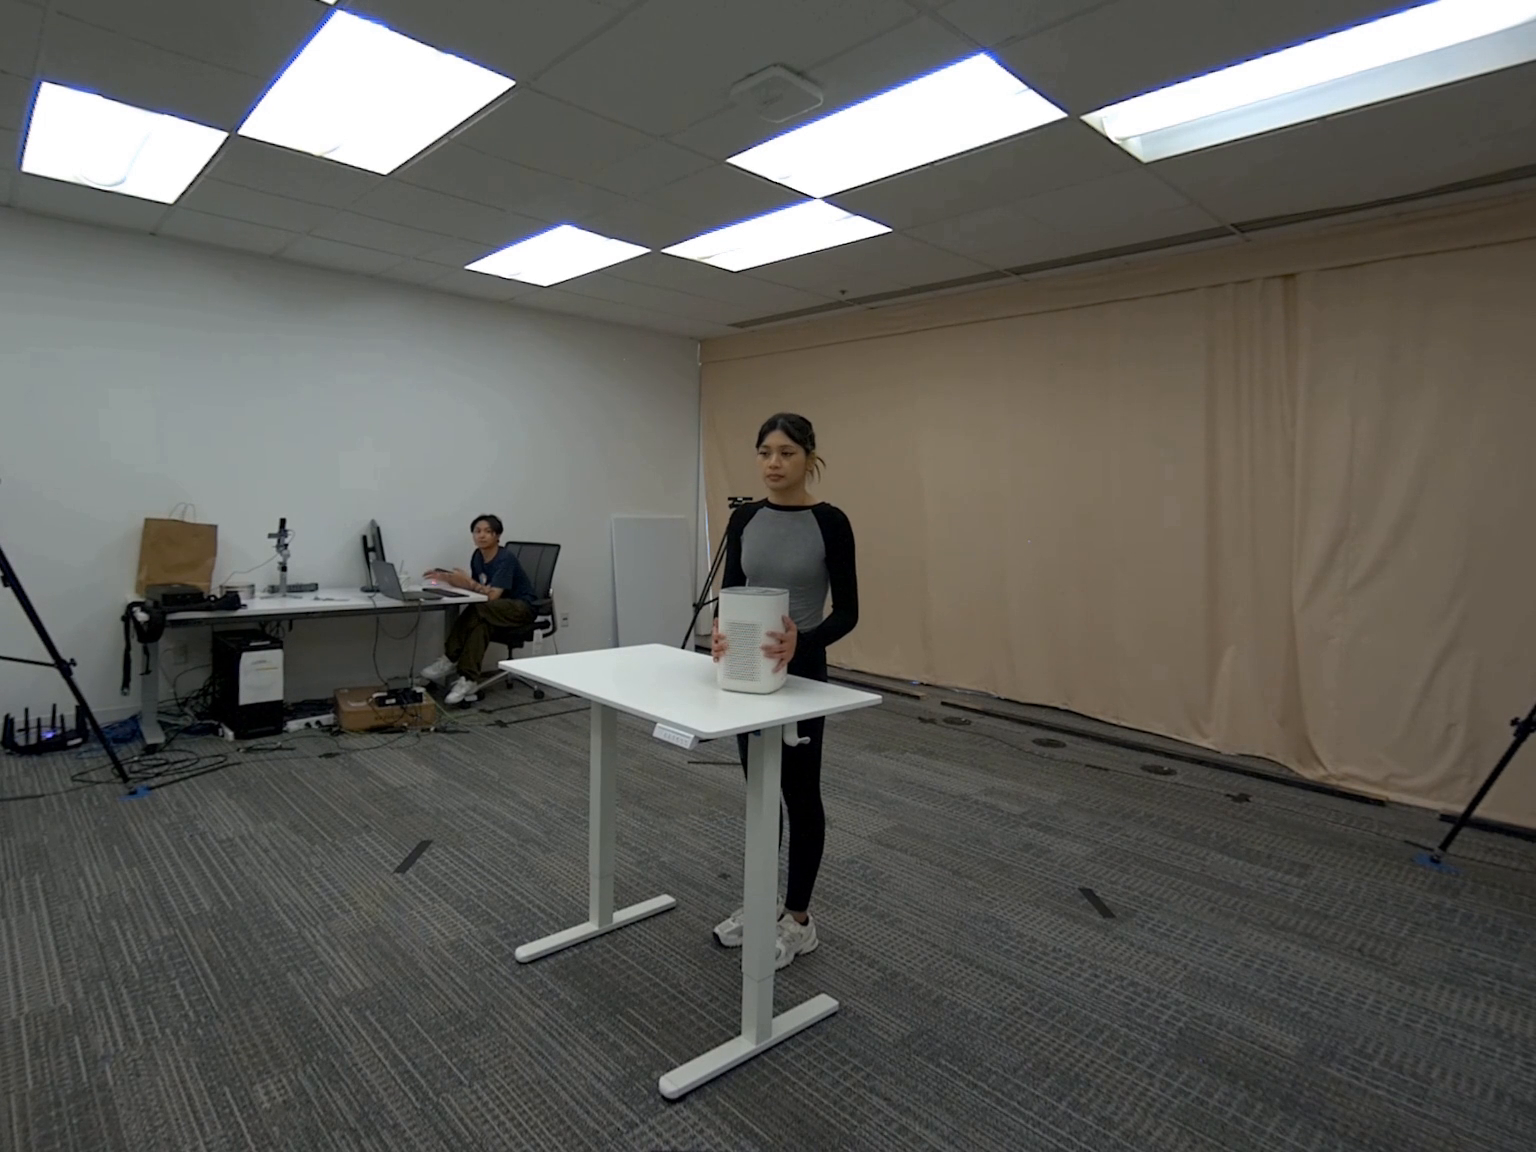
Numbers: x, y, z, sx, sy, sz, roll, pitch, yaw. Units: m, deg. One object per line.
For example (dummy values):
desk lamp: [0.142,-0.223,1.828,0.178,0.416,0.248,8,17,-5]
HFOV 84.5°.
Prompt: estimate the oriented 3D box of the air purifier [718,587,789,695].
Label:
air purifier: [-0.054,0.175,2.252,0.174,0.265,0.169,3,3,19]
